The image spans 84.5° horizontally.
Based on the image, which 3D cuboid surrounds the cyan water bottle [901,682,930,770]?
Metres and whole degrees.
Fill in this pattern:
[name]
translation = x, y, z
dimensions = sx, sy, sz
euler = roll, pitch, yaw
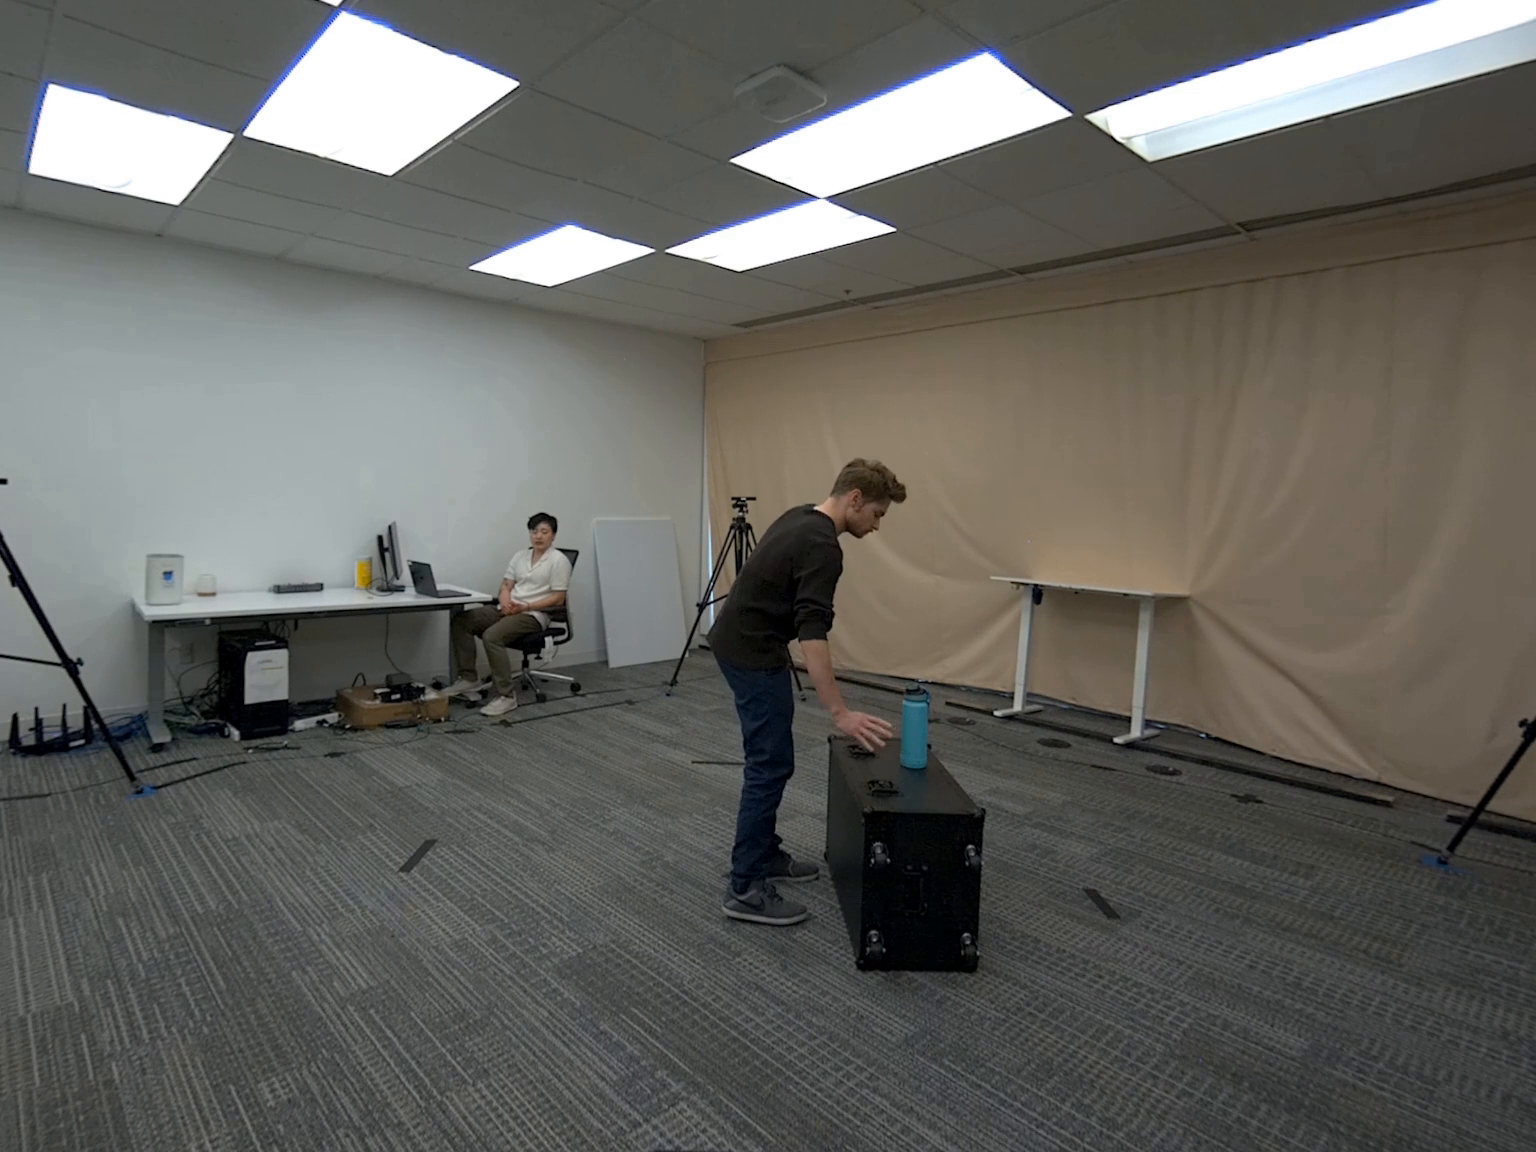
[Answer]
[cyan water bottle]
translation = 0.503, 0.514, 2.917
dimensions = 0.092, 0.283, 0.092
euler = 2, 3, -2
